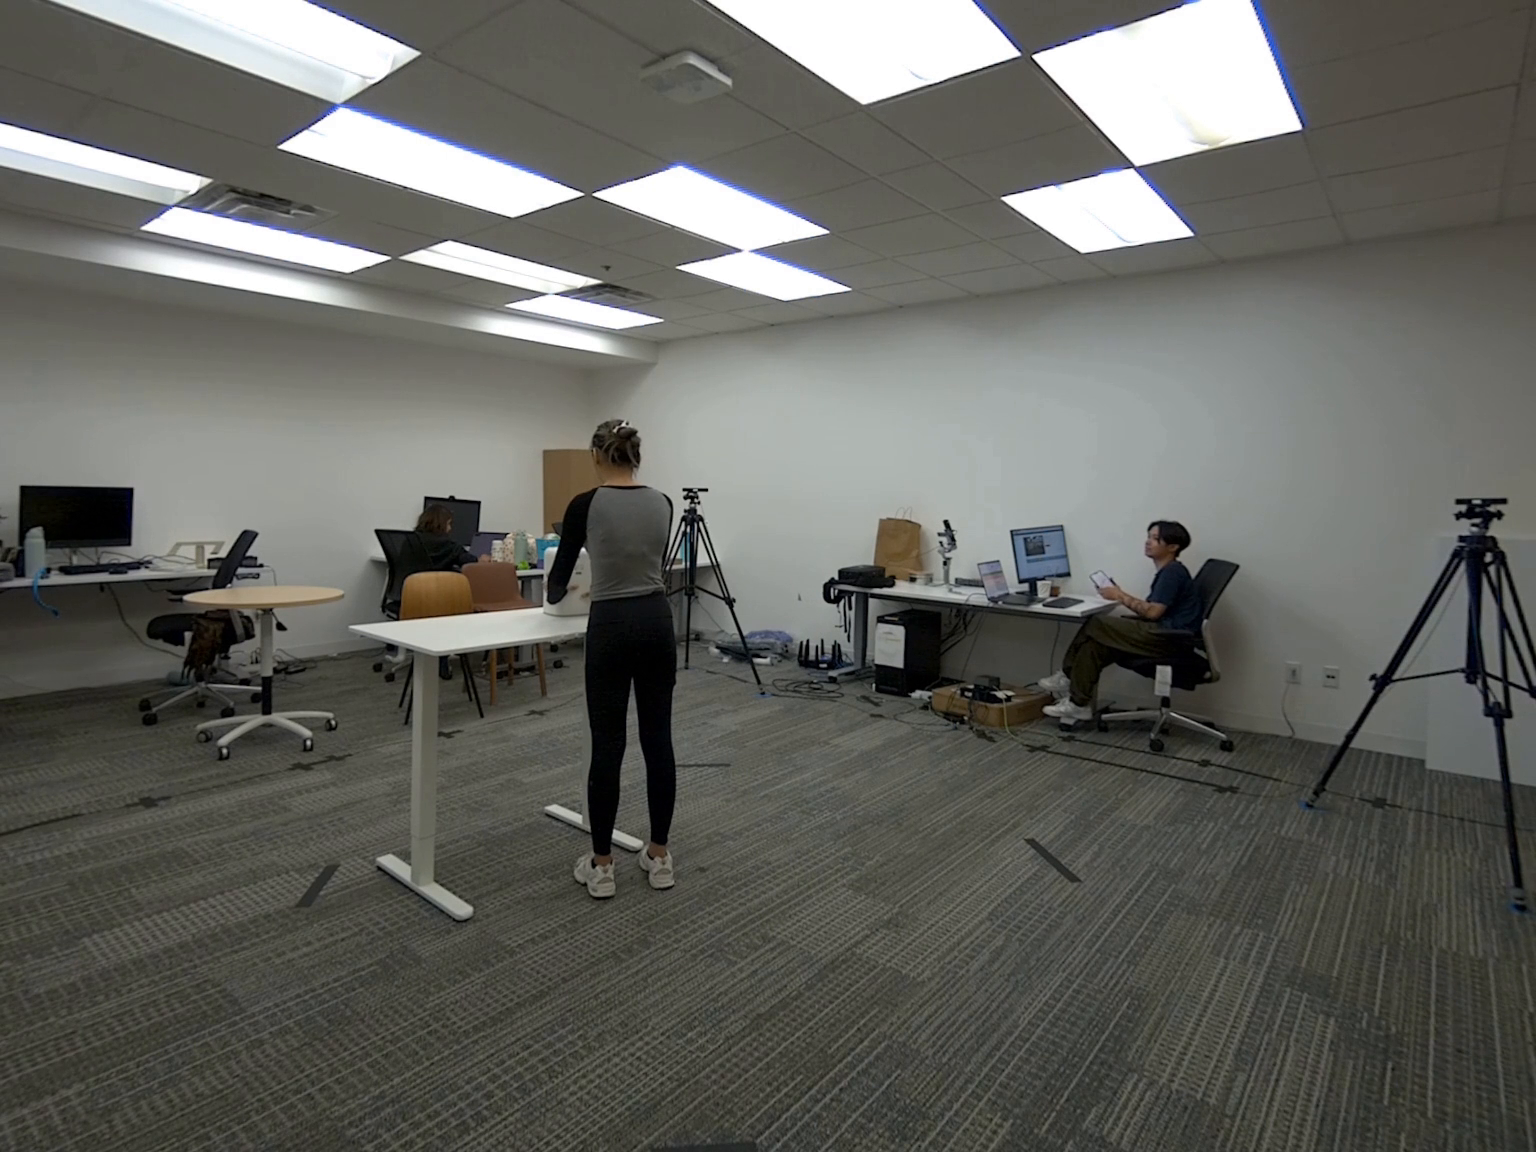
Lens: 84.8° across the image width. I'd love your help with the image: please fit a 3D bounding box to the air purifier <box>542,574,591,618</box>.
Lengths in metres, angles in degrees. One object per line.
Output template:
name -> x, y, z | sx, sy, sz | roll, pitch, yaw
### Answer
air purifier -> -0.813, 0.015, 3.420 | 0.166, 0.265, 0.177 | 2, 3, -39
